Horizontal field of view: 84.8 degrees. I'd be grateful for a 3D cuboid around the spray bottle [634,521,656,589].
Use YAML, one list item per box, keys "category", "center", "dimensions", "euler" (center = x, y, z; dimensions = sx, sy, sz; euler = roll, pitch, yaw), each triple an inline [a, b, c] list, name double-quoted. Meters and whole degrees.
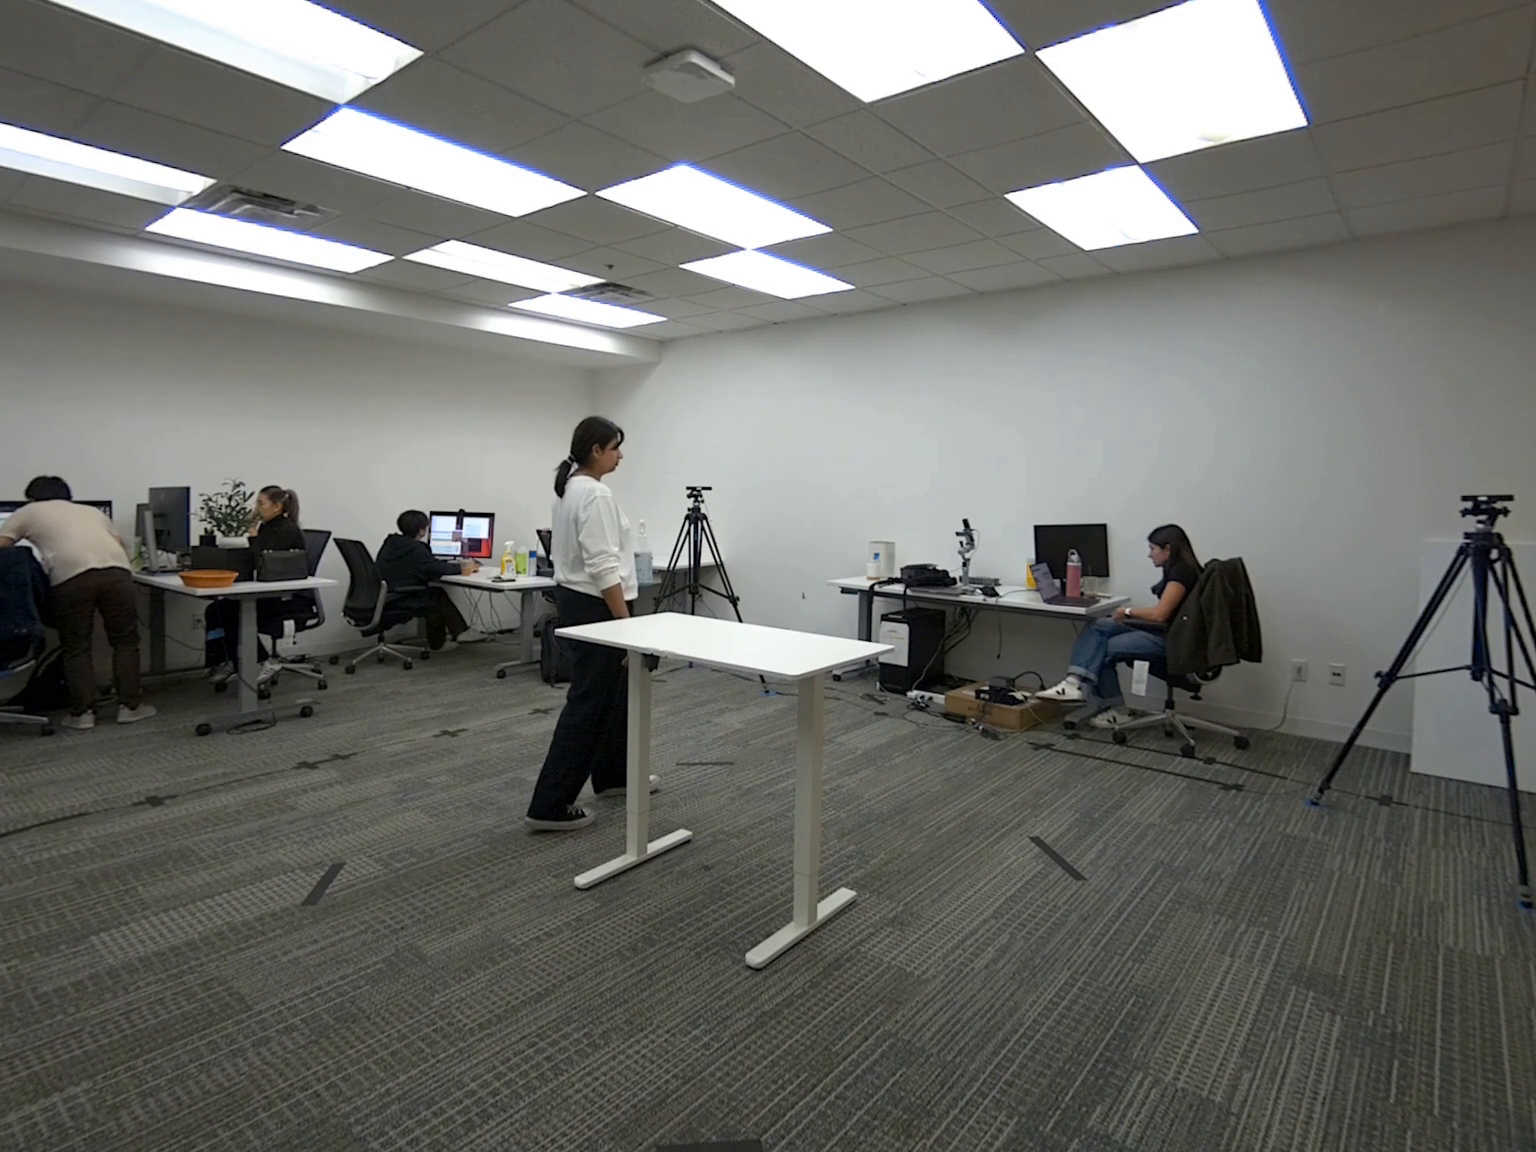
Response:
- category: "spray bottle"
  center: [-0.578, -0.102, 3.834]
  dimensions: [0.089, 0.296, 0.088]
  euler: [0, 4, 25]
